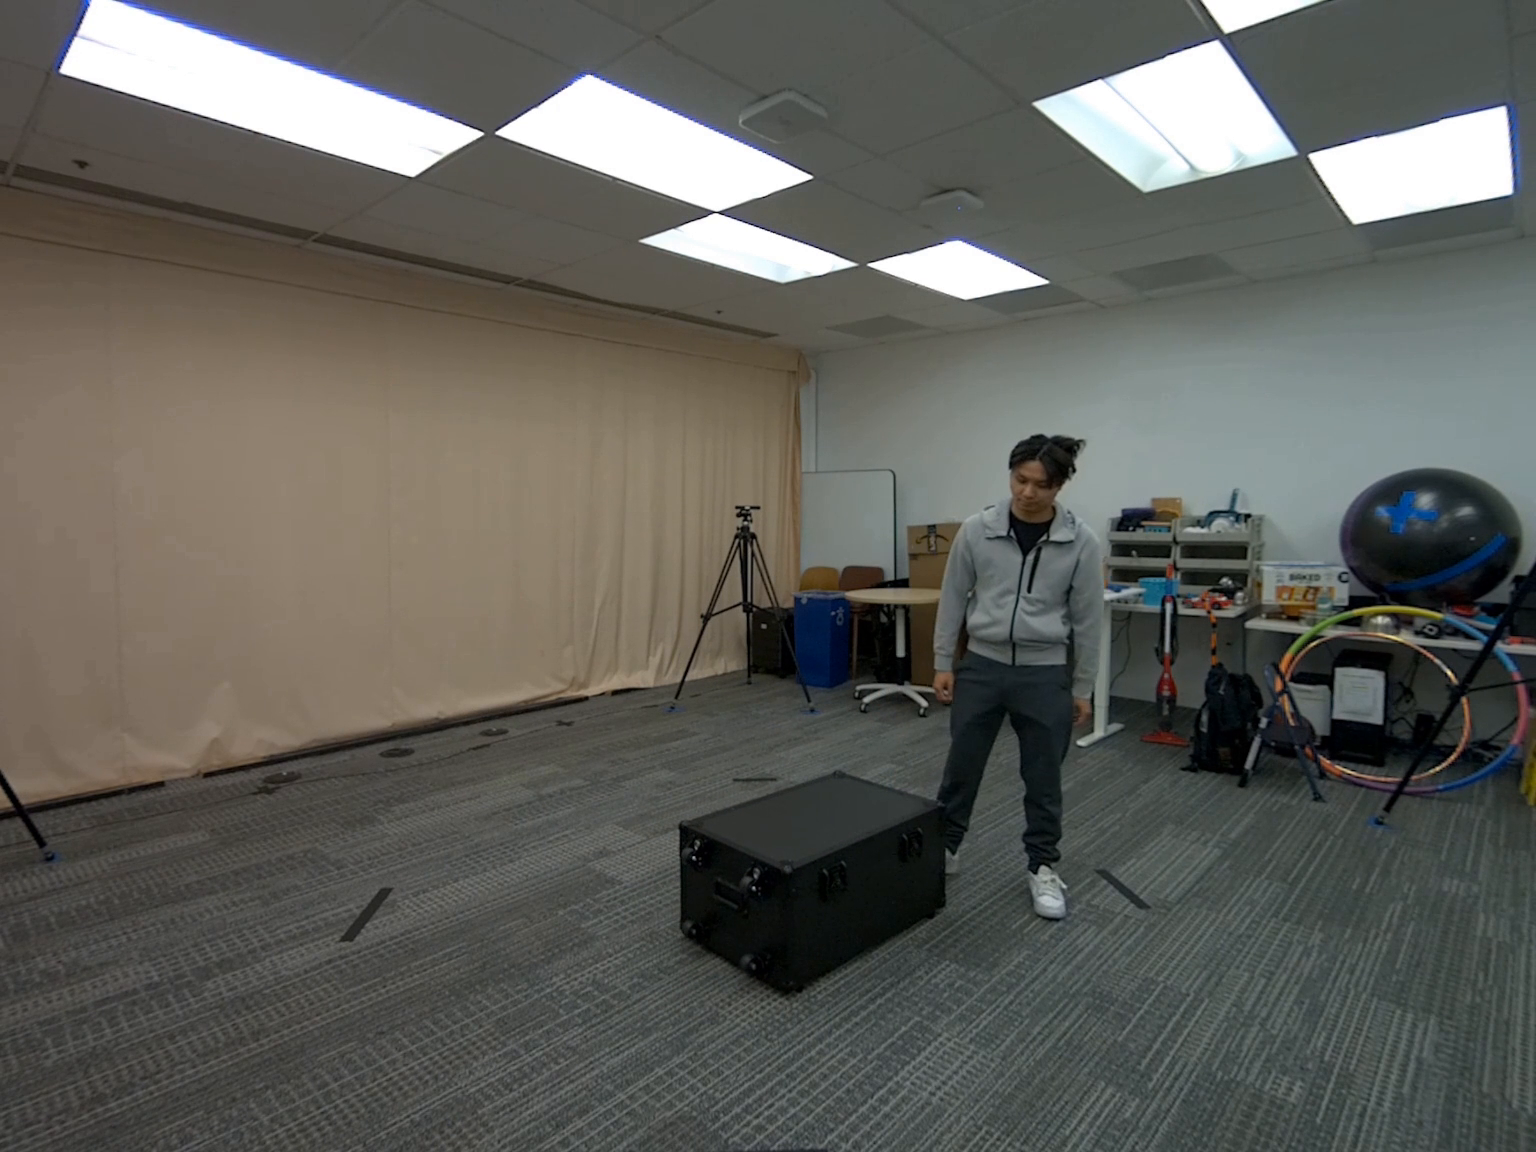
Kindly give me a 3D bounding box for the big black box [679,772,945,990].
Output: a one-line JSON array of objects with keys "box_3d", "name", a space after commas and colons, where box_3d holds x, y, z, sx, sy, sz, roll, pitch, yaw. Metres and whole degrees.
[{"box_3d": [0.139, 0.972, 2.769, 0.835, 0.395, 0.539, -3, 5, -44], "name": "big black box"}]
